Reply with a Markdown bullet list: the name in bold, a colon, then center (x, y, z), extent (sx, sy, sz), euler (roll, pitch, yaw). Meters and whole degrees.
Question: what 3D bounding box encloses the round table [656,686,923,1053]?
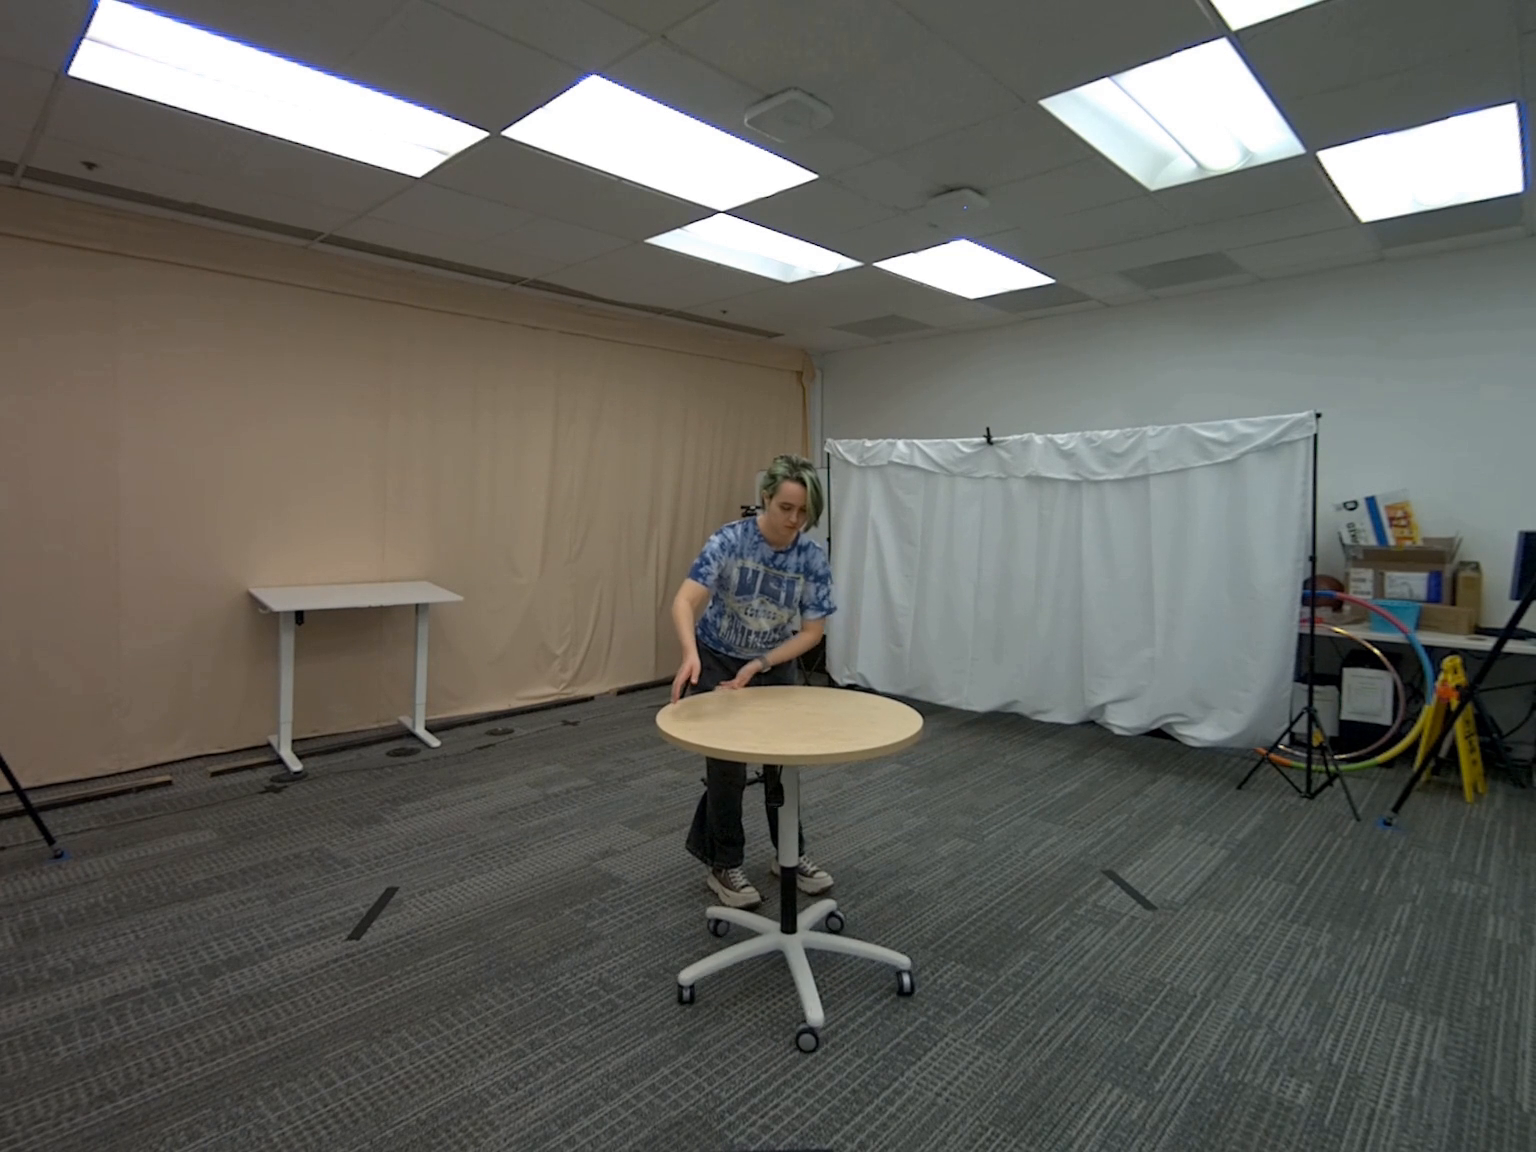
- **round table**: center (0.064, 0.800, 2.460), extent (0.763, 0.792, 0.767), euler (0, 4, -2)
